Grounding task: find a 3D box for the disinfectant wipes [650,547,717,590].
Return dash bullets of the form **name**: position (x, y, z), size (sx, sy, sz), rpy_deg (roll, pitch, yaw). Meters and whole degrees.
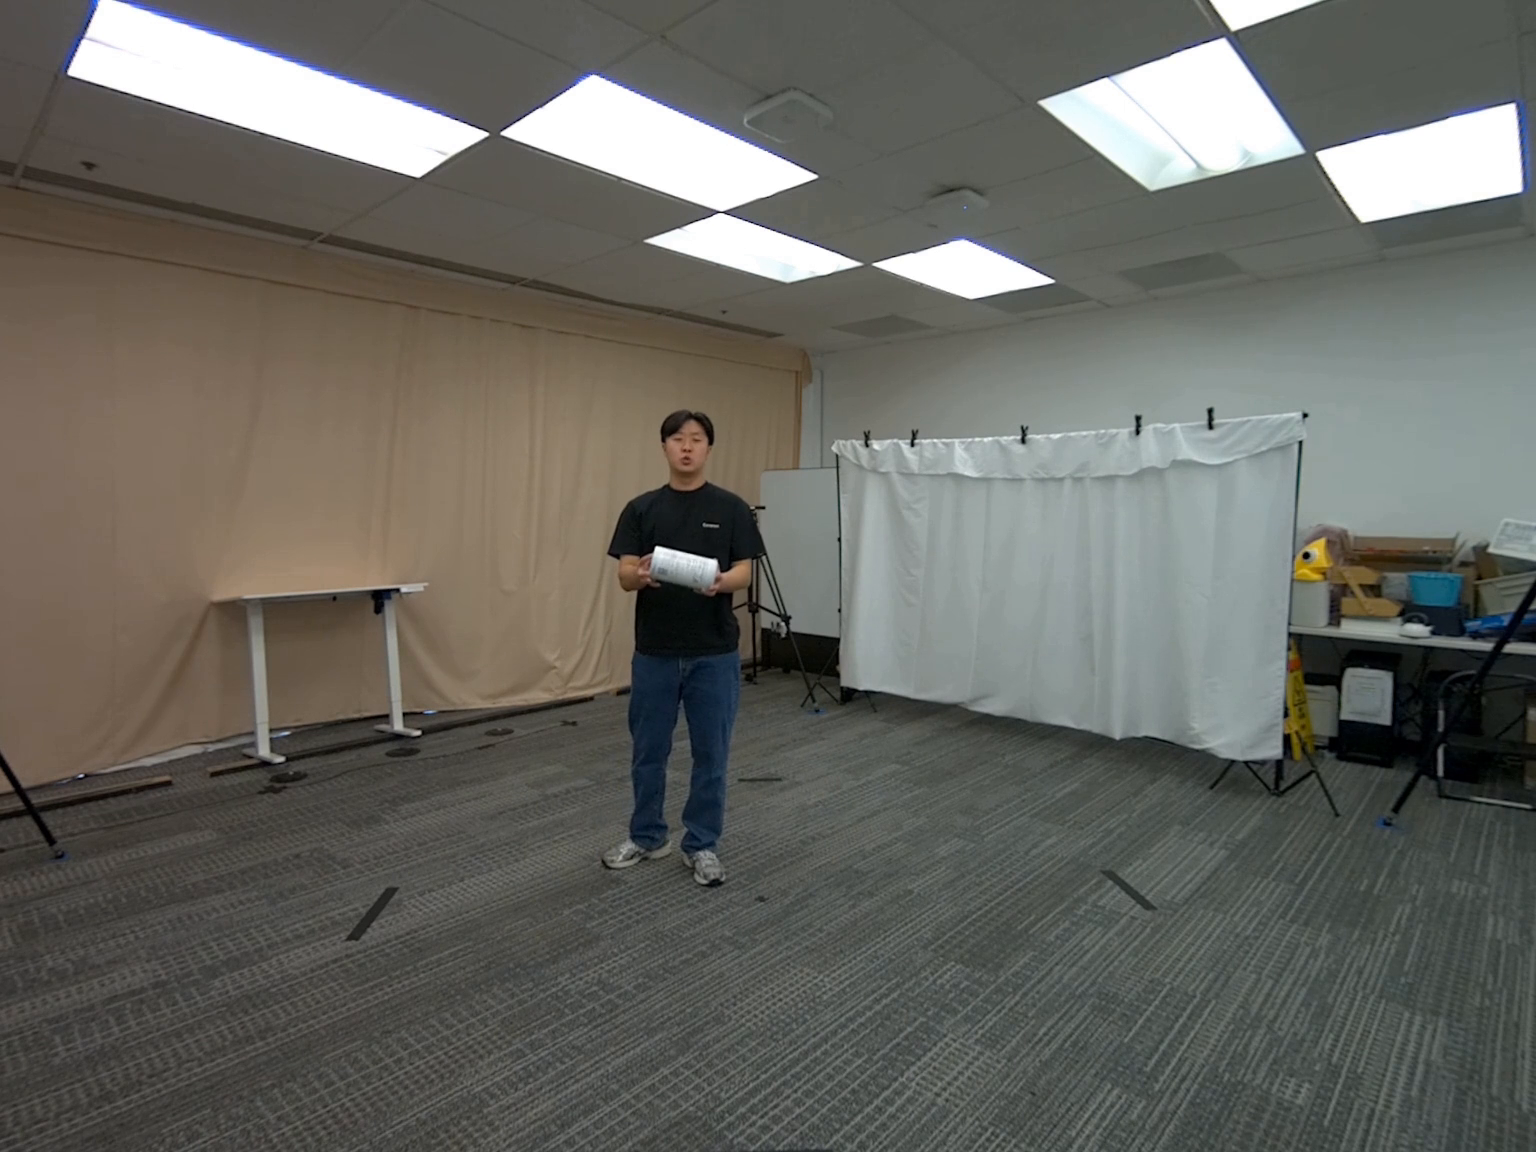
- **disinfectant wipes**: position (-0.294, -0.033, 2.797), size (0.215, 0.117, 0.119), rpy_deg (10, 2, -9)
